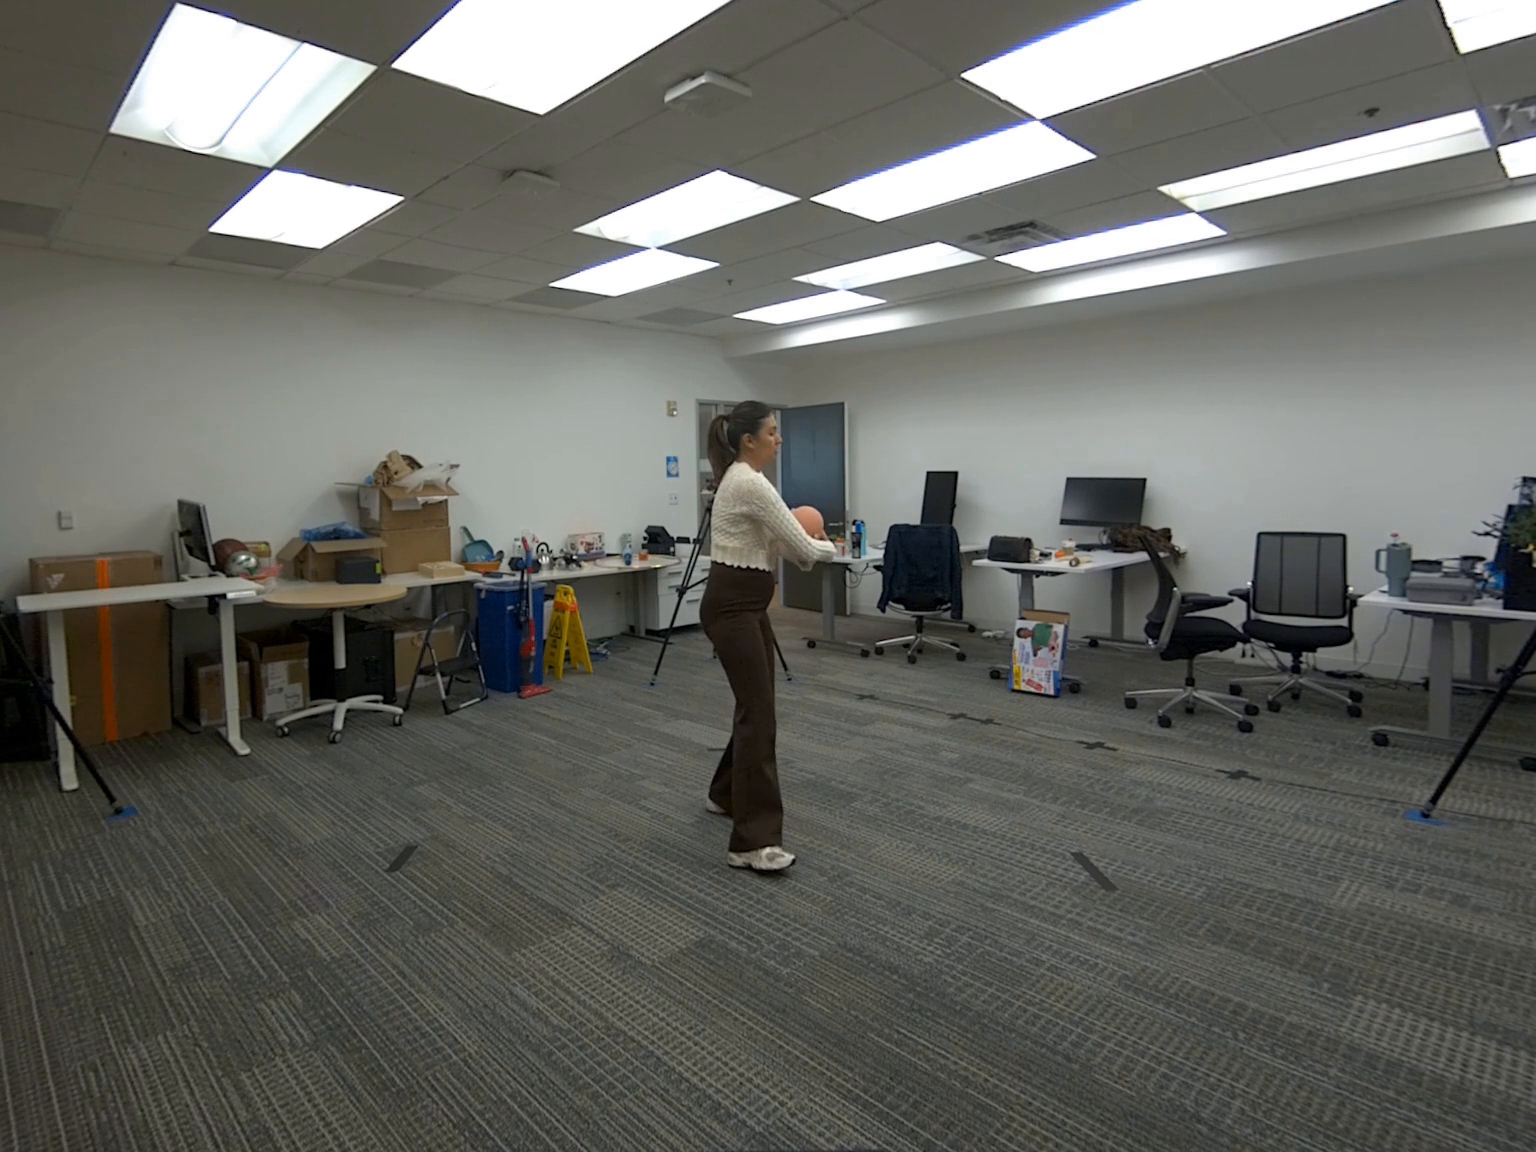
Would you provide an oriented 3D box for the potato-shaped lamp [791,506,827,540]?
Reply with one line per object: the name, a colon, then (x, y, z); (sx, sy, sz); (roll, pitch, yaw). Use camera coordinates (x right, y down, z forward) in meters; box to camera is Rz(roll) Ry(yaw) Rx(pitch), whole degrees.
potato-shaped lamp: (0.138, -0.196, 3.338); (0.164, 0.174, 0.196); (18, -27, -7)
